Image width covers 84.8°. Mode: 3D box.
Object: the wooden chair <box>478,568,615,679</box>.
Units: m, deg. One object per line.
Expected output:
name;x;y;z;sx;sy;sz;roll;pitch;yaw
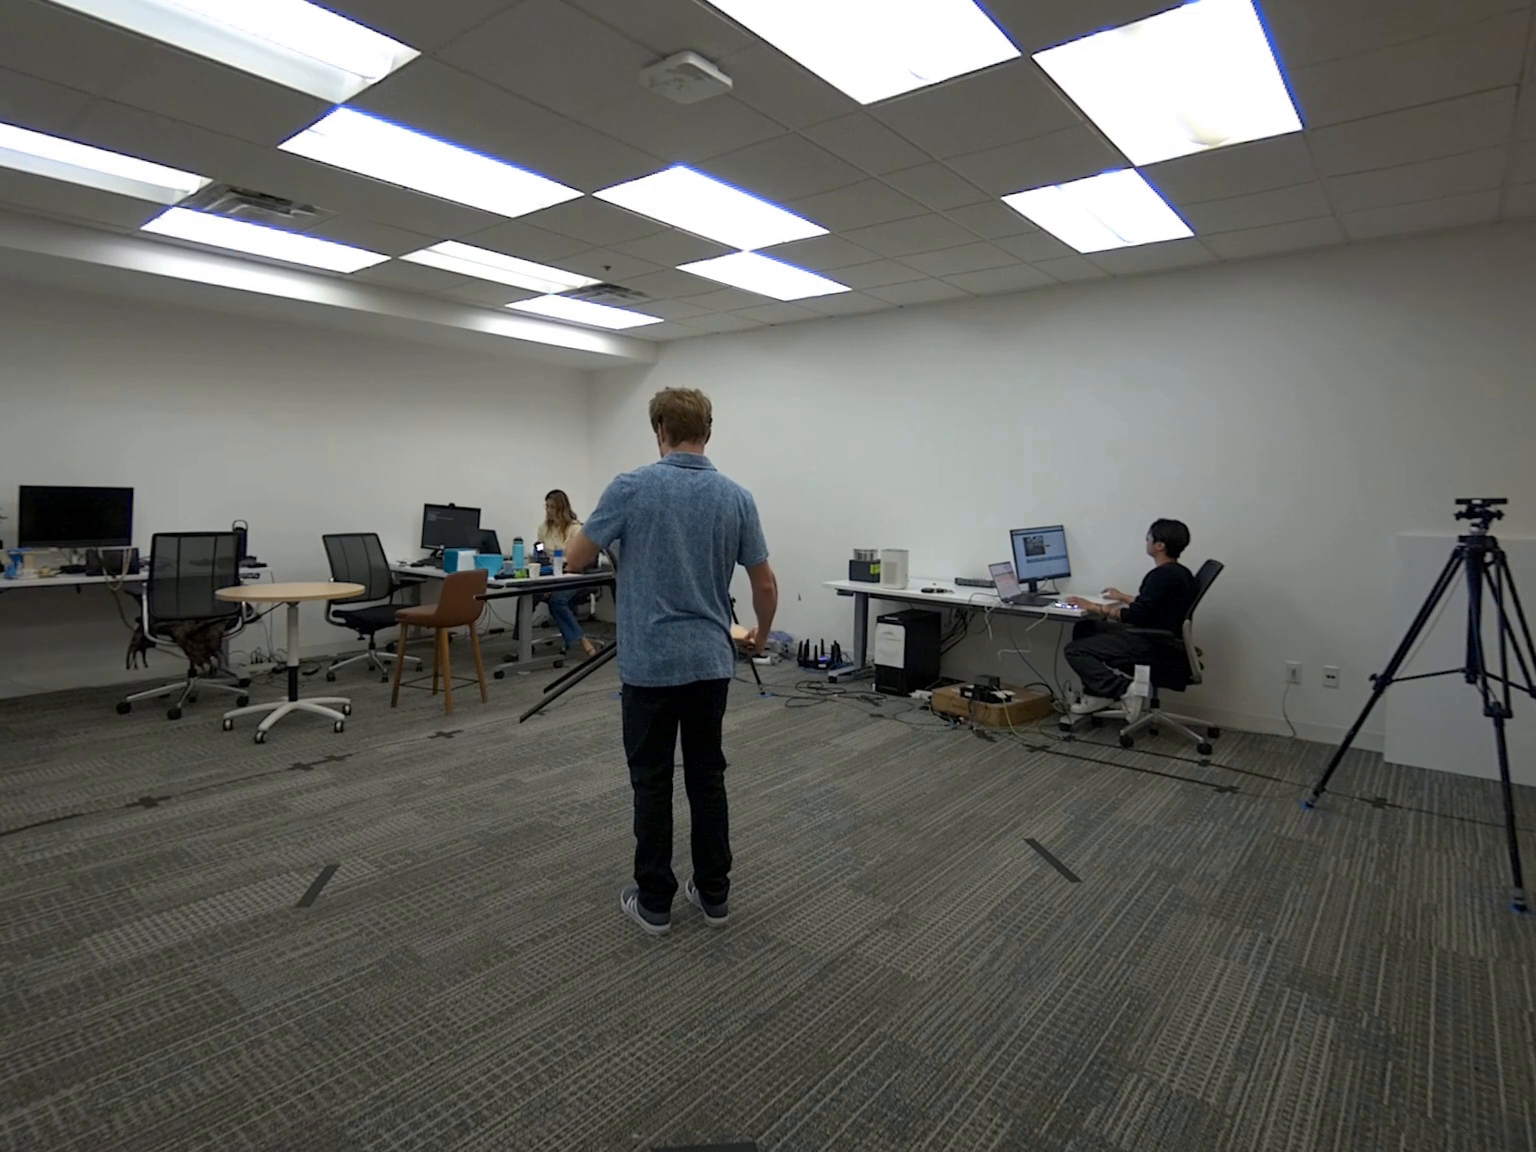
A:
wooden chair;-0.533;0.117;3.080;0.877;0.521;0.480;-16;4;0
